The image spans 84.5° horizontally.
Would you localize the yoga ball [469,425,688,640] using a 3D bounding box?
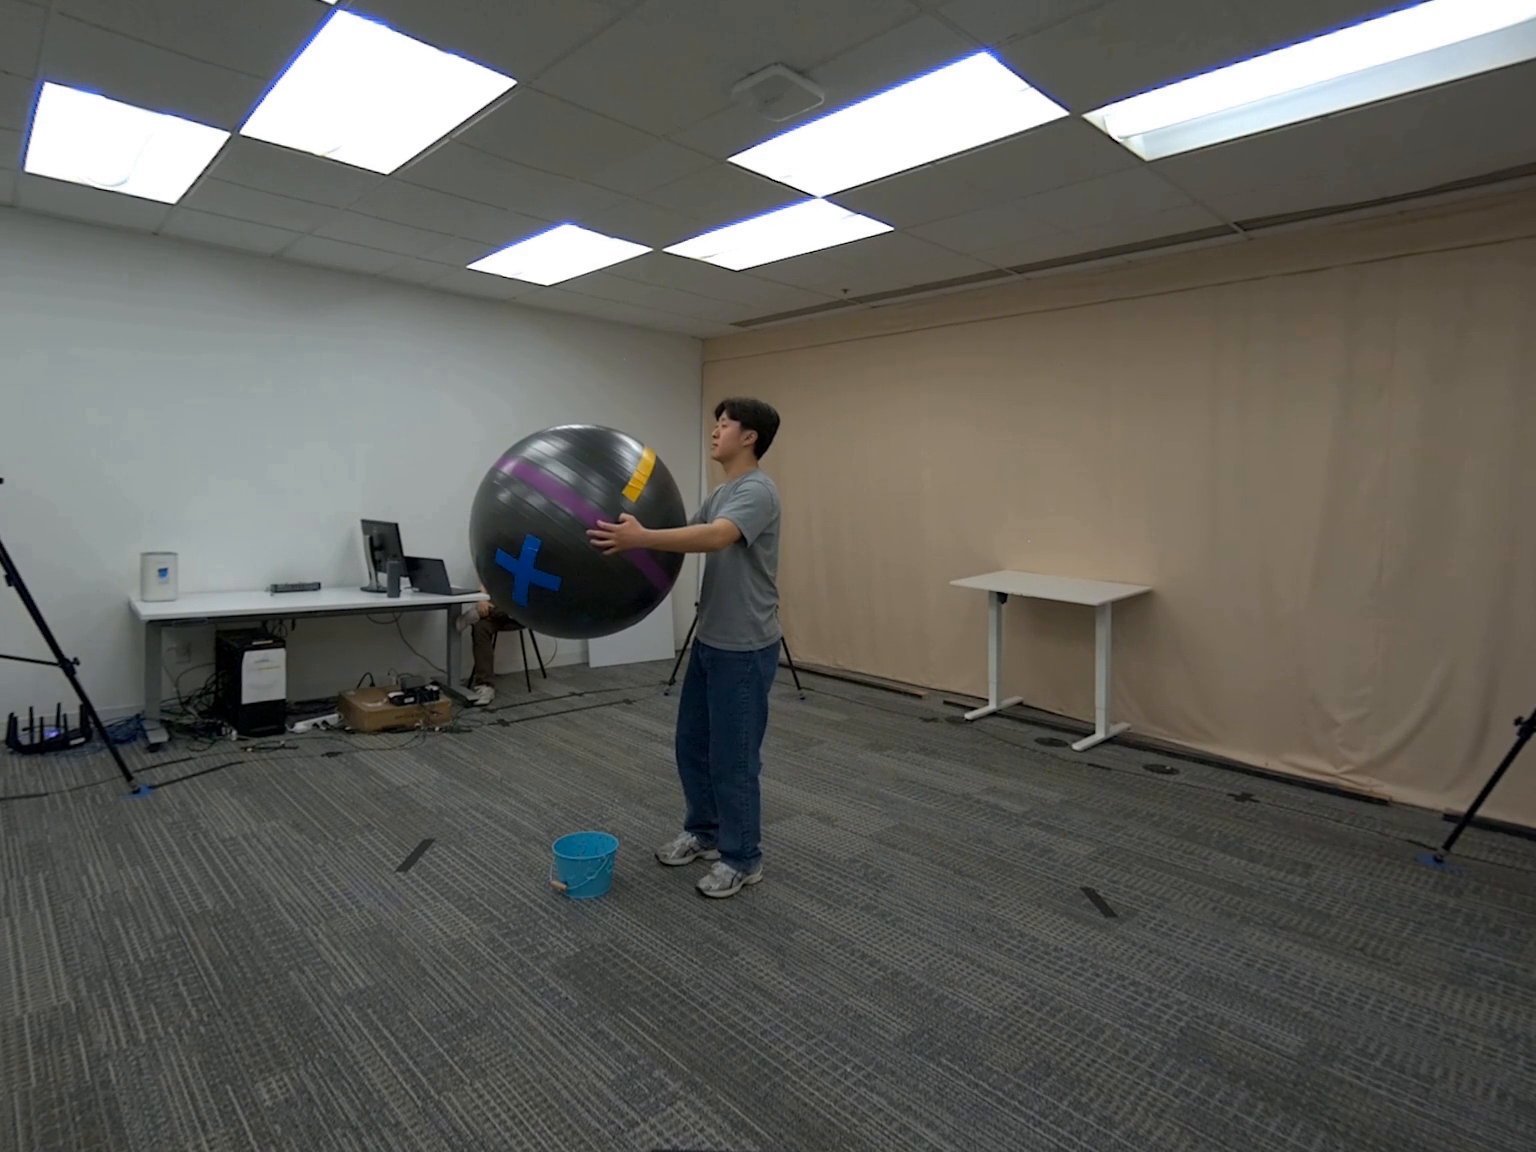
[{"bbox_3d":[-0.686,-0.150,2.981,0.757,0.756,0.761,1,4,-1],"label":"yoga ball"}]
